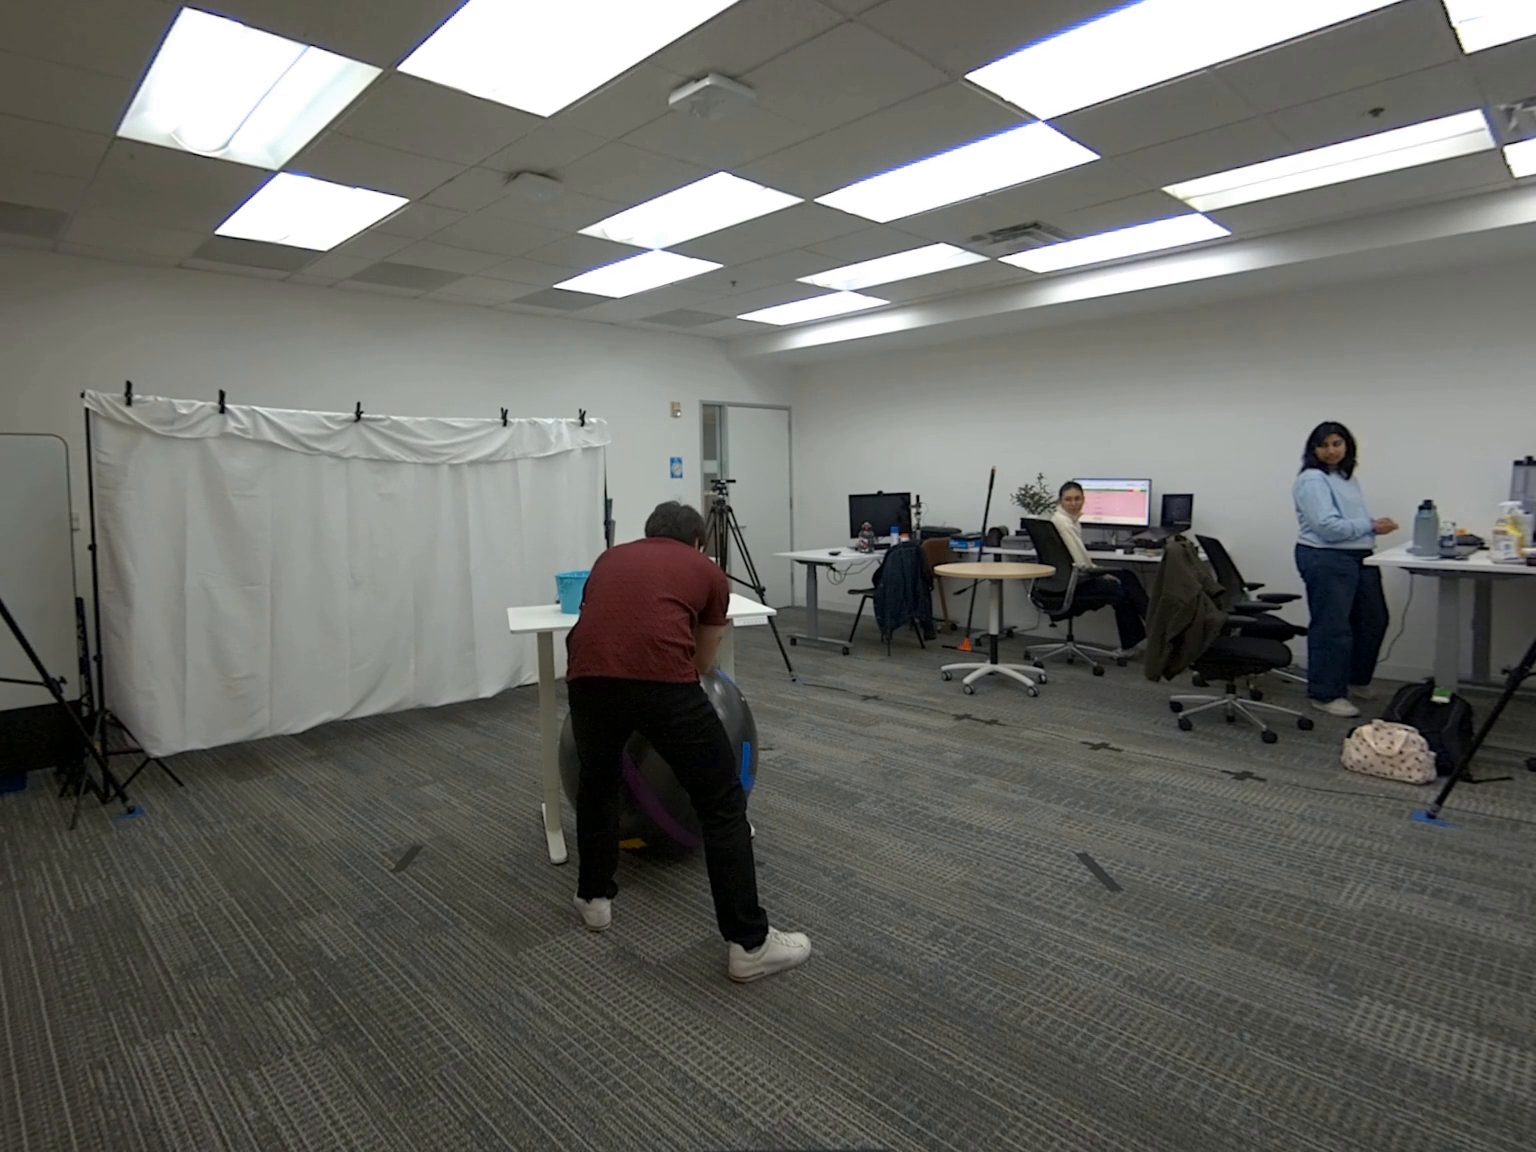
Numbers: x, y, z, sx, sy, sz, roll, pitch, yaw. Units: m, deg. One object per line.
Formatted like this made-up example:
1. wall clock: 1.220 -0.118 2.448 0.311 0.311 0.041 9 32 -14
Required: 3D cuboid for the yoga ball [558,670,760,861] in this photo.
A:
1. yoga ball: -0.415 0.674 3.259 0.757 0.755 0.762 -1 5 -2
